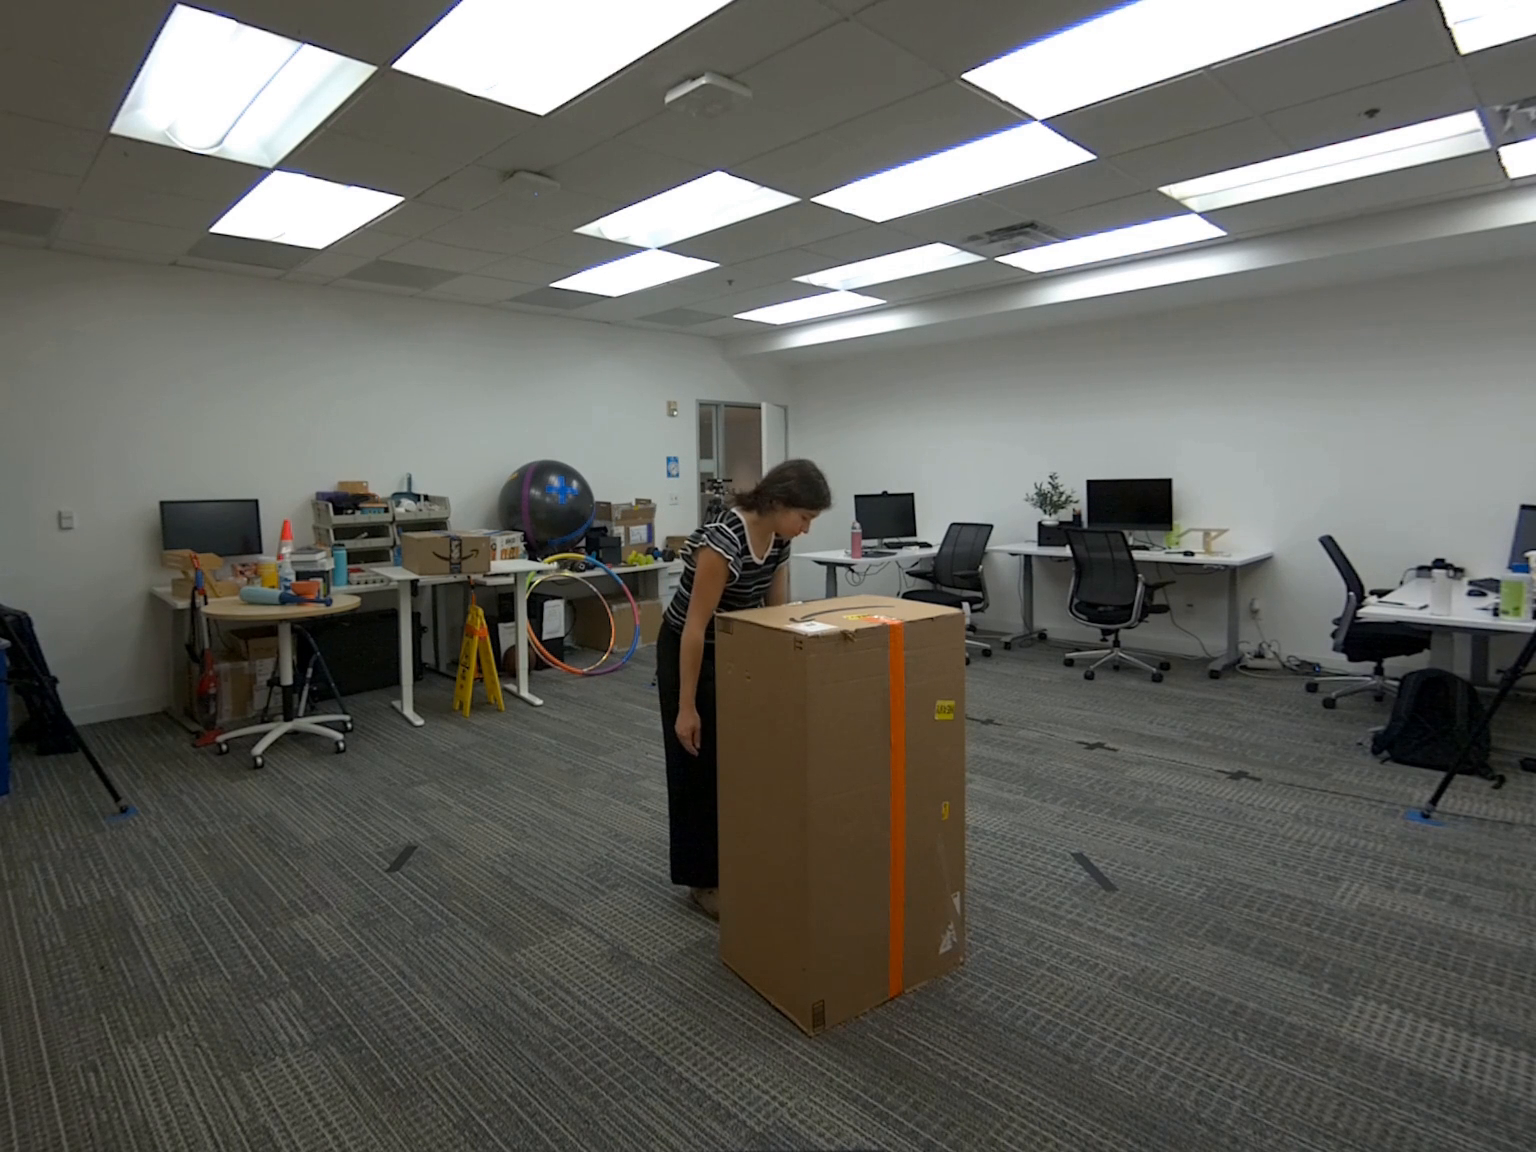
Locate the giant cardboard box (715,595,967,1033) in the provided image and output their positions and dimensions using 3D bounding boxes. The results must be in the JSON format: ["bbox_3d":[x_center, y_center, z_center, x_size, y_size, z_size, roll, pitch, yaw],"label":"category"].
[{"bbox_3d":[0.215,0.611,2.428,0.563,1.022,0.439,-4,5,-35],"label":"giant cardboard box"}]
